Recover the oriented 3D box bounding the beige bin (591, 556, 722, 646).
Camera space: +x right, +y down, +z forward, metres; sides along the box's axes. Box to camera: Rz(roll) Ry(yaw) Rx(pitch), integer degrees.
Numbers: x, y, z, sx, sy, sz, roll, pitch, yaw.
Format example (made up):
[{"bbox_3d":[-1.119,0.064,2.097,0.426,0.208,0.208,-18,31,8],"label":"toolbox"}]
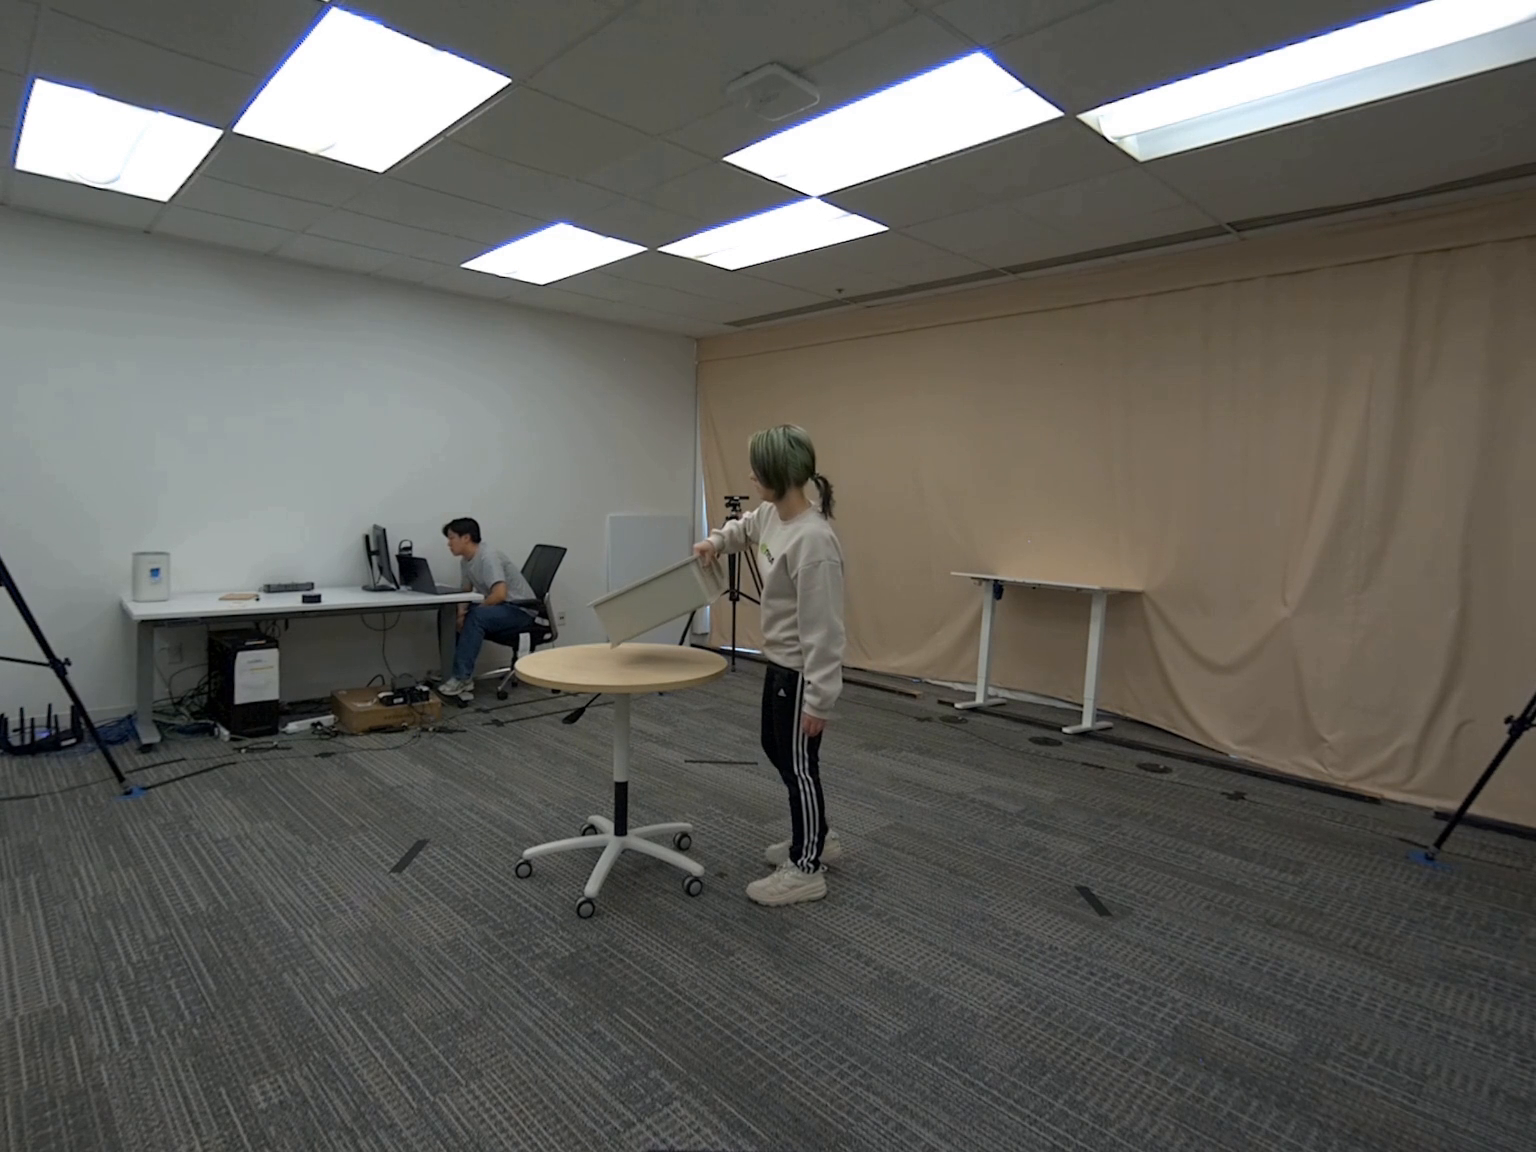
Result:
[{"bbox_3d":[-0.396,0.074,3.108,0.424,0.188,0.377,-23,4,9],"label":"beige bin"}]
